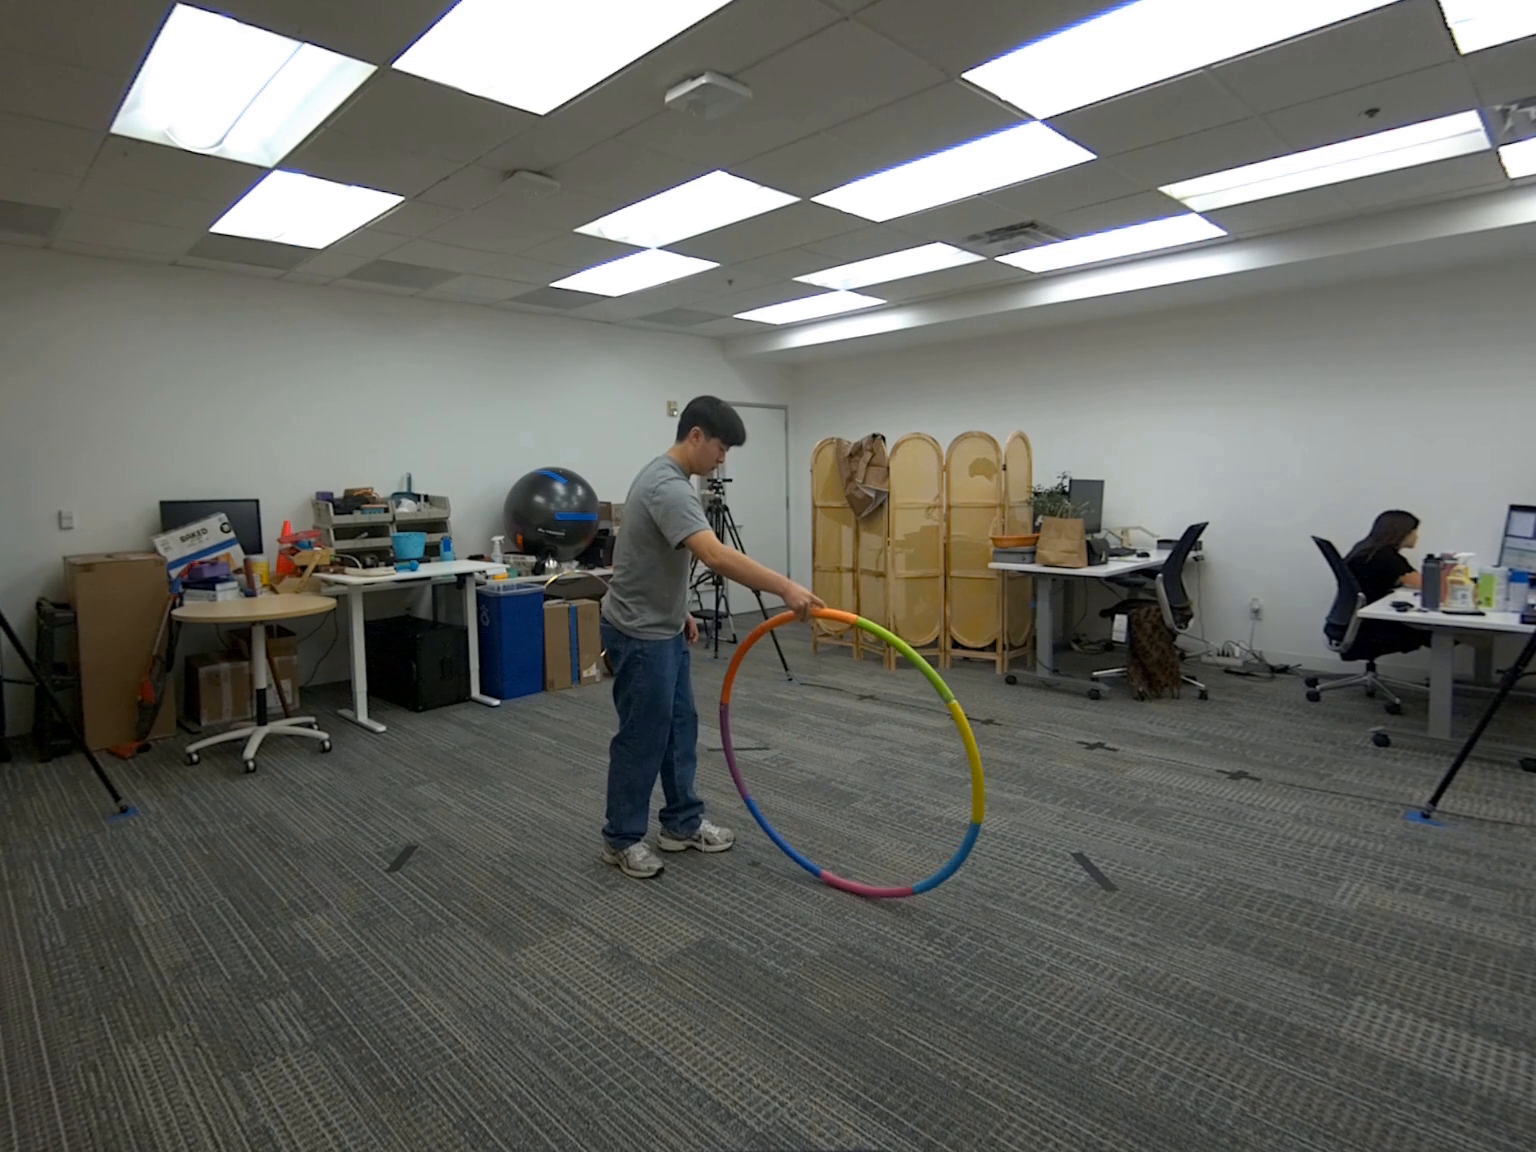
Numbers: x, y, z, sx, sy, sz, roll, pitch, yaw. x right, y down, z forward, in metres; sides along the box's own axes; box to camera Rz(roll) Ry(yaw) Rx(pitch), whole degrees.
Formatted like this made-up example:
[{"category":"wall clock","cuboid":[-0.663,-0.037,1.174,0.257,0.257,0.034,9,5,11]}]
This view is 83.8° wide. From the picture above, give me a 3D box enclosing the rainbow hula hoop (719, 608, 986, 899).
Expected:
[{"category":"rainbow hula hoop","cuboid":[0.233,0.587,2.816,1.008,0.969,0.035,3,13,39]}]
